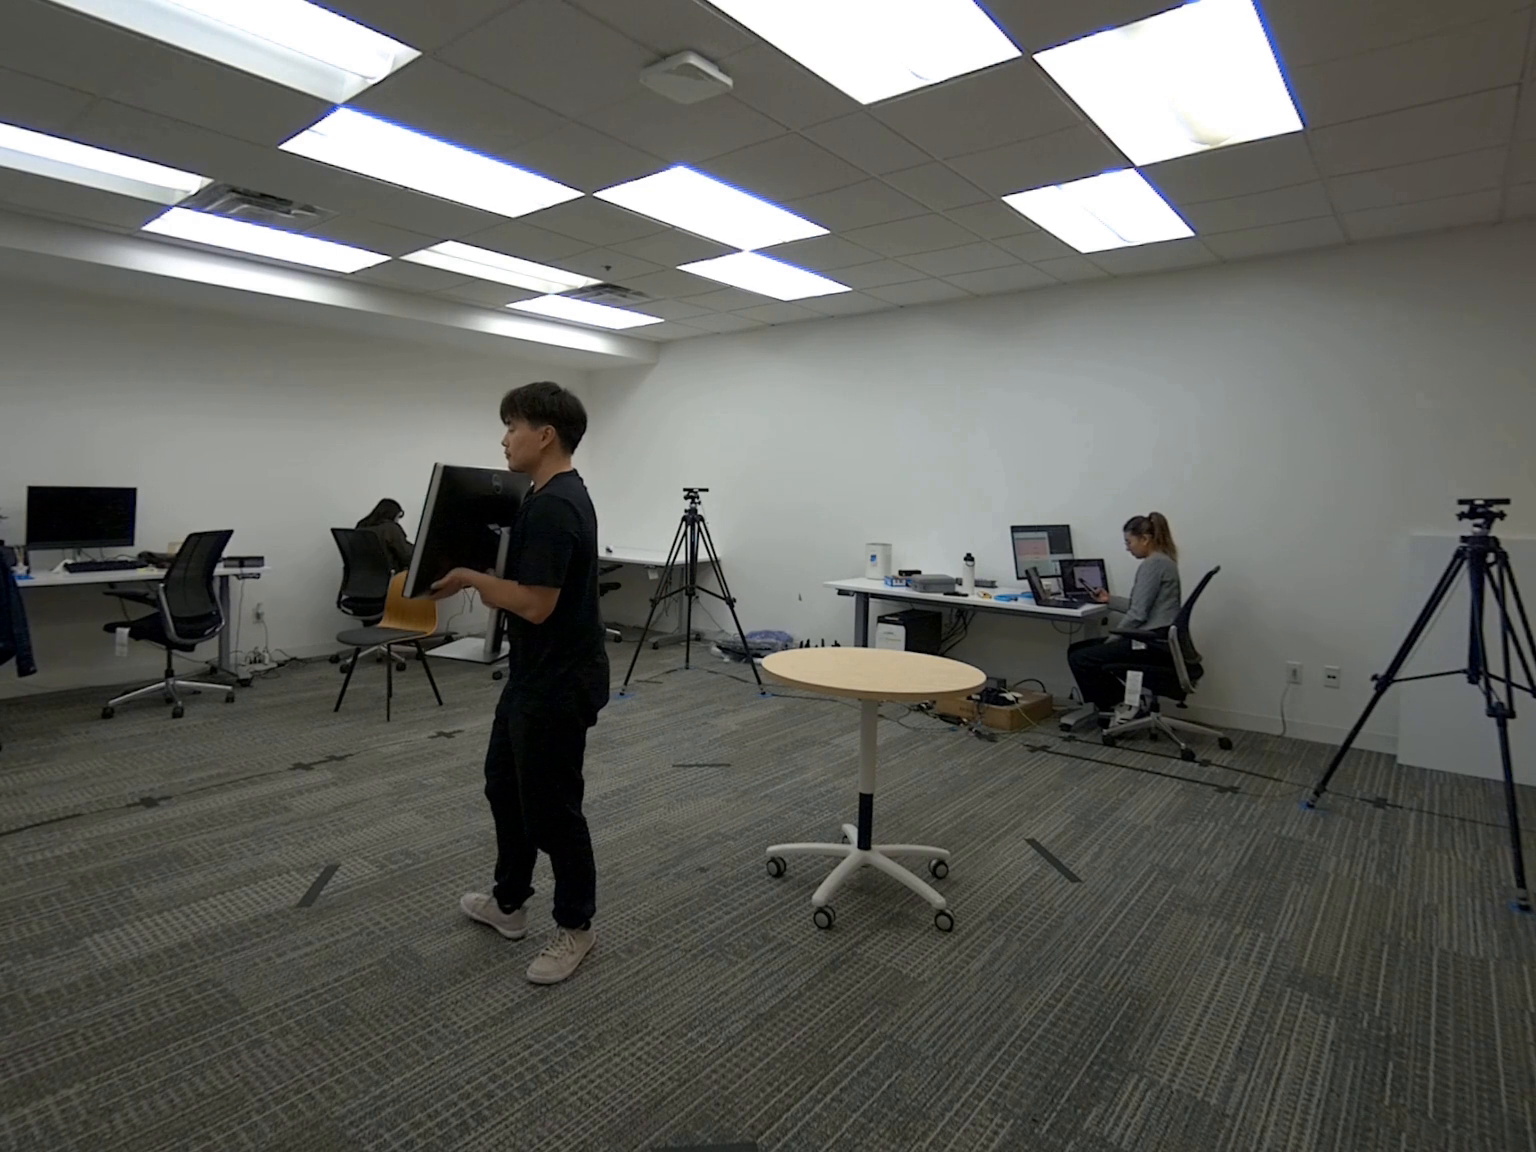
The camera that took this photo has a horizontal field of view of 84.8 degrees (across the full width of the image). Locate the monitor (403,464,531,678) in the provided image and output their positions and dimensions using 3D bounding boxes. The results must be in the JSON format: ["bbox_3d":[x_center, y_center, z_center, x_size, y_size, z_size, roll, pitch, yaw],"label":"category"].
[{"bbox_3d":[-0.832,-0.042,2.446,0.188,0.520,0.538,5,6,4],"label":"monitor"}]
